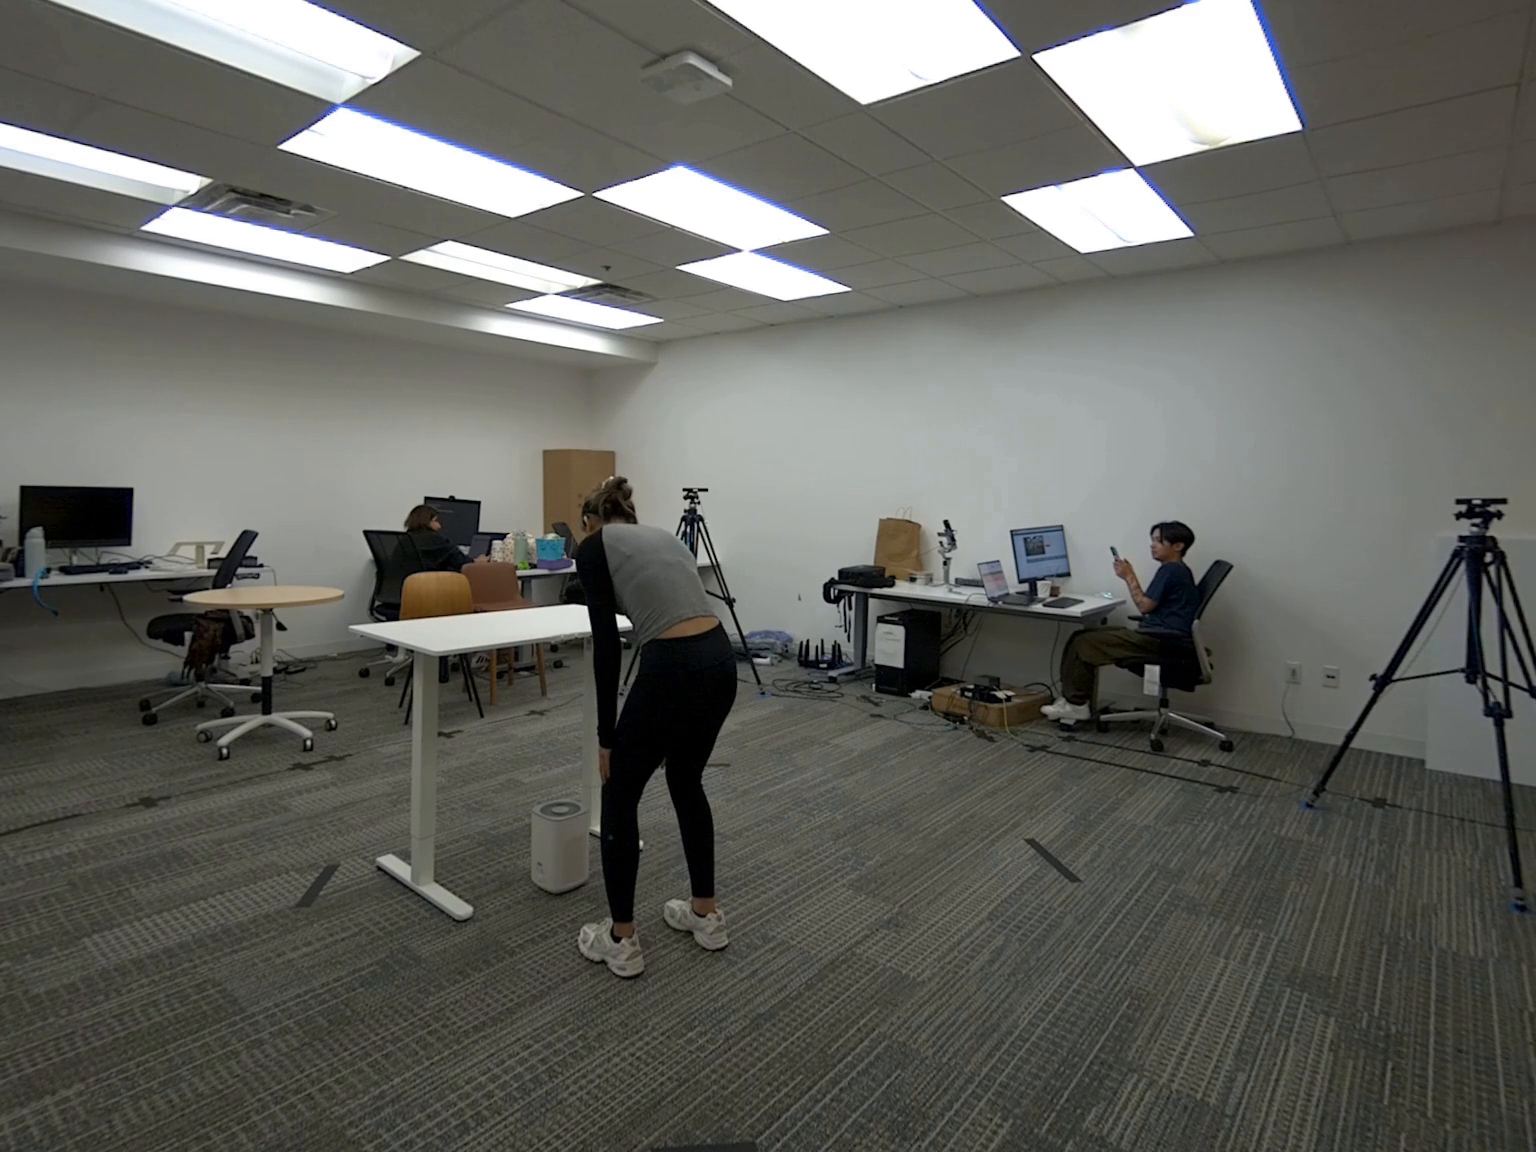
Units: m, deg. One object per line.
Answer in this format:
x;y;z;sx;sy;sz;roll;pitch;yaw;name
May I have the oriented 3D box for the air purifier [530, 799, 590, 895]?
-0.737;0.940;2.962;0.177;0.265;0.166;3;4;38;air purifier
